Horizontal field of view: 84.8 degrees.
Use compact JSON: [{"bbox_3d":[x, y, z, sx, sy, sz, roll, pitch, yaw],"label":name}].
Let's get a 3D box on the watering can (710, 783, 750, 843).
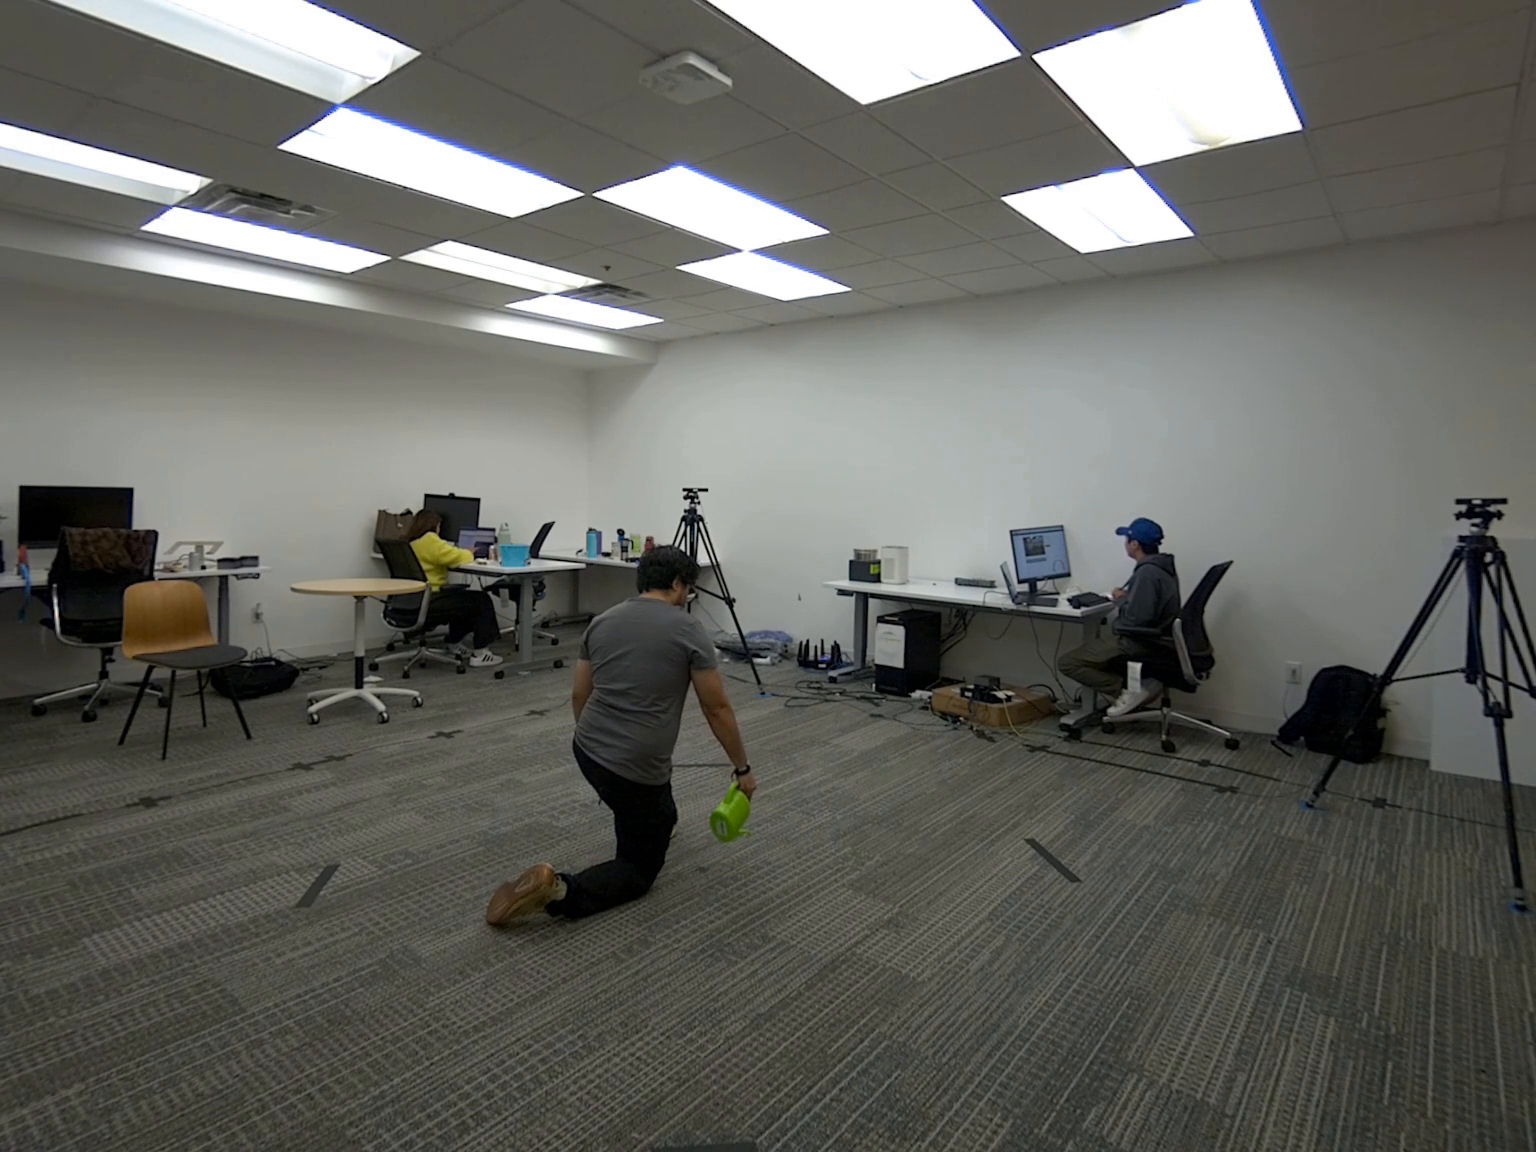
[{"bbox_3d":[-0.120,0.871,2.995,0.100,0.273,0.176,-10,19,34],"label":"watering can"}]
